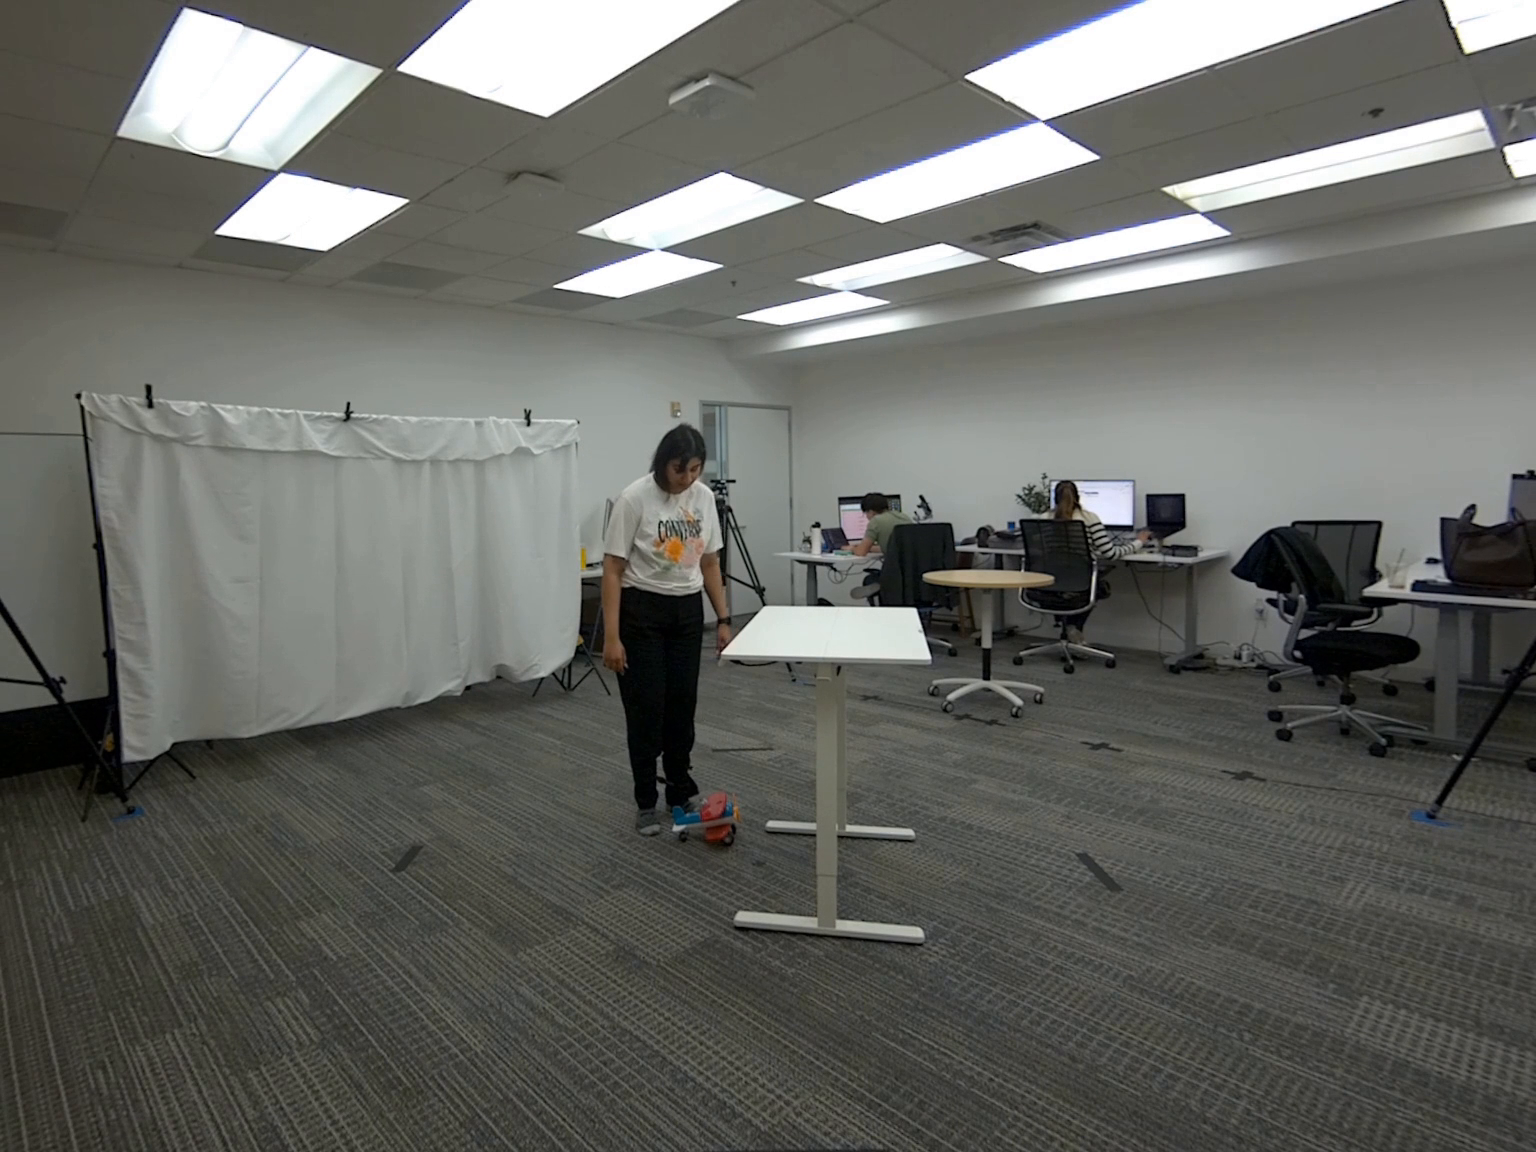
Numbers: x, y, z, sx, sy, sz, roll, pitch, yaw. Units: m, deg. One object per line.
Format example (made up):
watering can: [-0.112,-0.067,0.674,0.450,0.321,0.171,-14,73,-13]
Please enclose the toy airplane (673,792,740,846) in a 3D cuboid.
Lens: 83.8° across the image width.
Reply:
toy airplane: [-0.235,0.954,3.296,0.254,0.156,0.257,-3,4,-26]
